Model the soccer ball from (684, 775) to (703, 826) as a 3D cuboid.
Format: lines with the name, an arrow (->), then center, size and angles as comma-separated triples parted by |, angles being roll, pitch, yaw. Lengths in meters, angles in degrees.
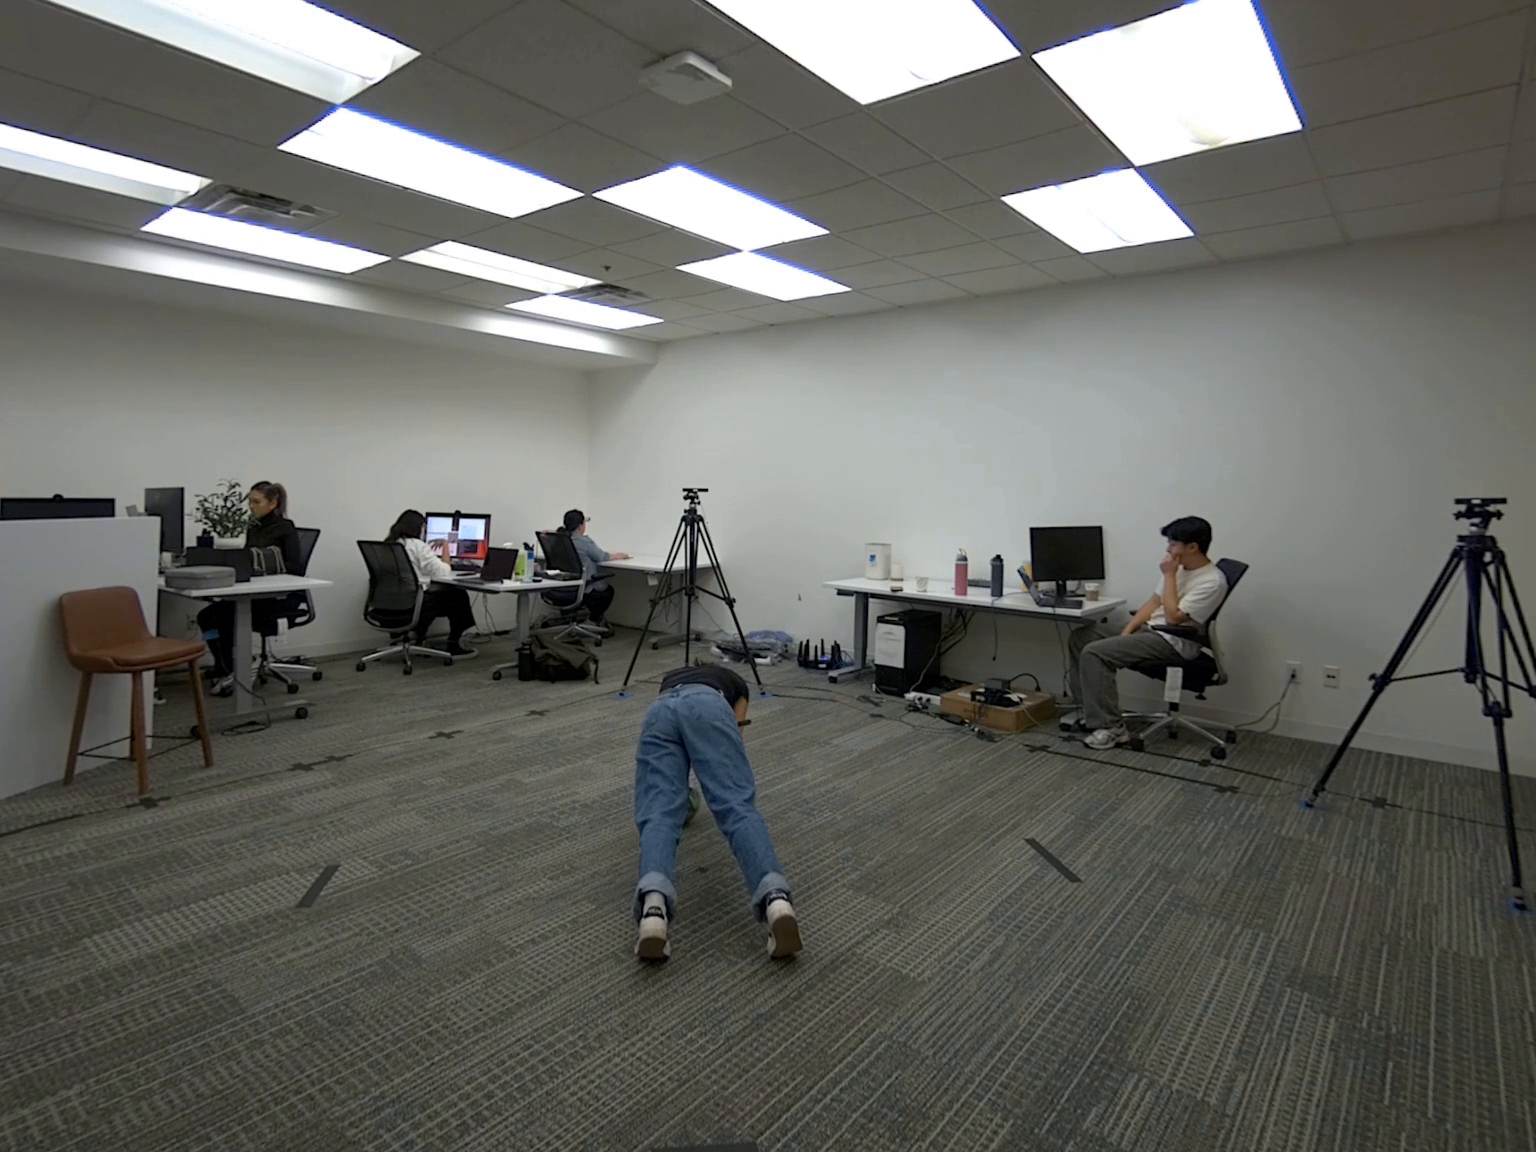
soccer ball -> -0.367, 0.919, 3.539 | 0.187, 0.187, 0.188 | 1, 4, -2
